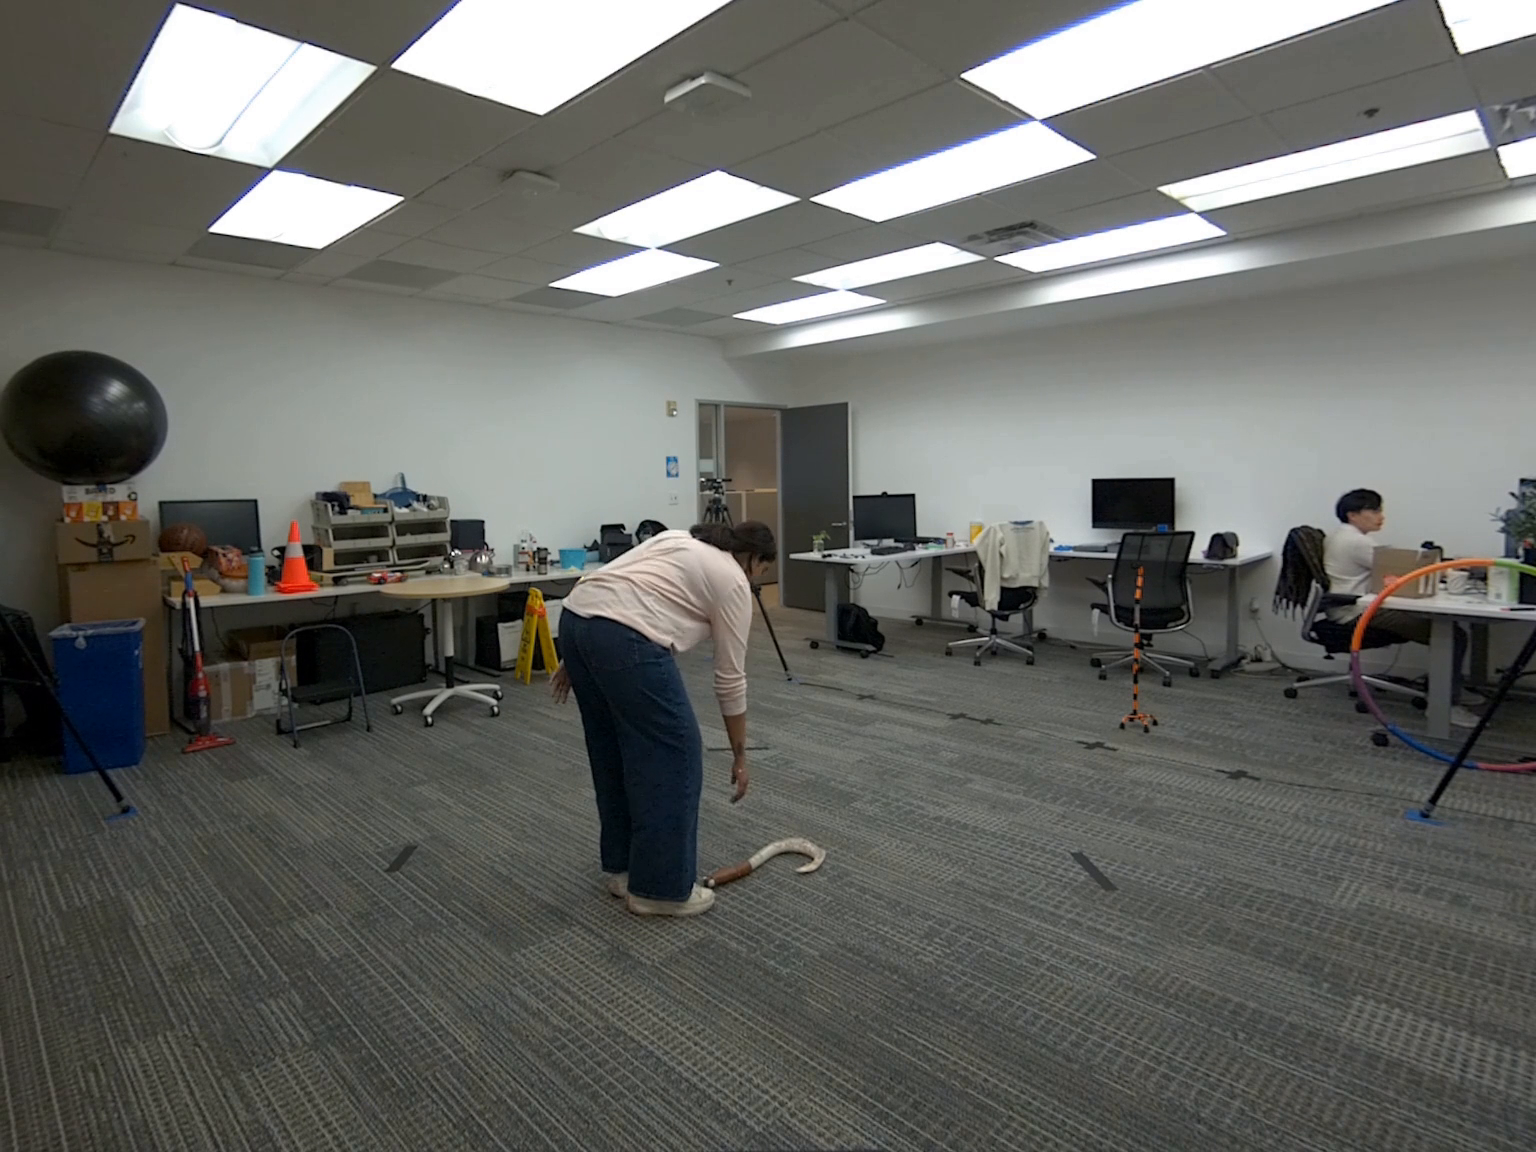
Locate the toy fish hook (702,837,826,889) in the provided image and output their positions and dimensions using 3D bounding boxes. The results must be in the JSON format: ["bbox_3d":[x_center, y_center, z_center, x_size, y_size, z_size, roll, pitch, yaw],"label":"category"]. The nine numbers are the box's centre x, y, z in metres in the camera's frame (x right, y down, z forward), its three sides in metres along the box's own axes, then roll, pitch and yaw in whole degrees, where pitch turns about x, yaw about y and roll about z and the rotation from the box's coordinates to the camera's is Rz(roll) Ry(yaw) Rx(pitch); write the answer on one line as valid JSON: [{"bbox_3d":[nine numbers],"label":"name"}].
[{"bbox_3d":[0.004,1.029,3.028,0.493,0.048,0.231,-7,8,-42],"label":"toy fish hook"}]
